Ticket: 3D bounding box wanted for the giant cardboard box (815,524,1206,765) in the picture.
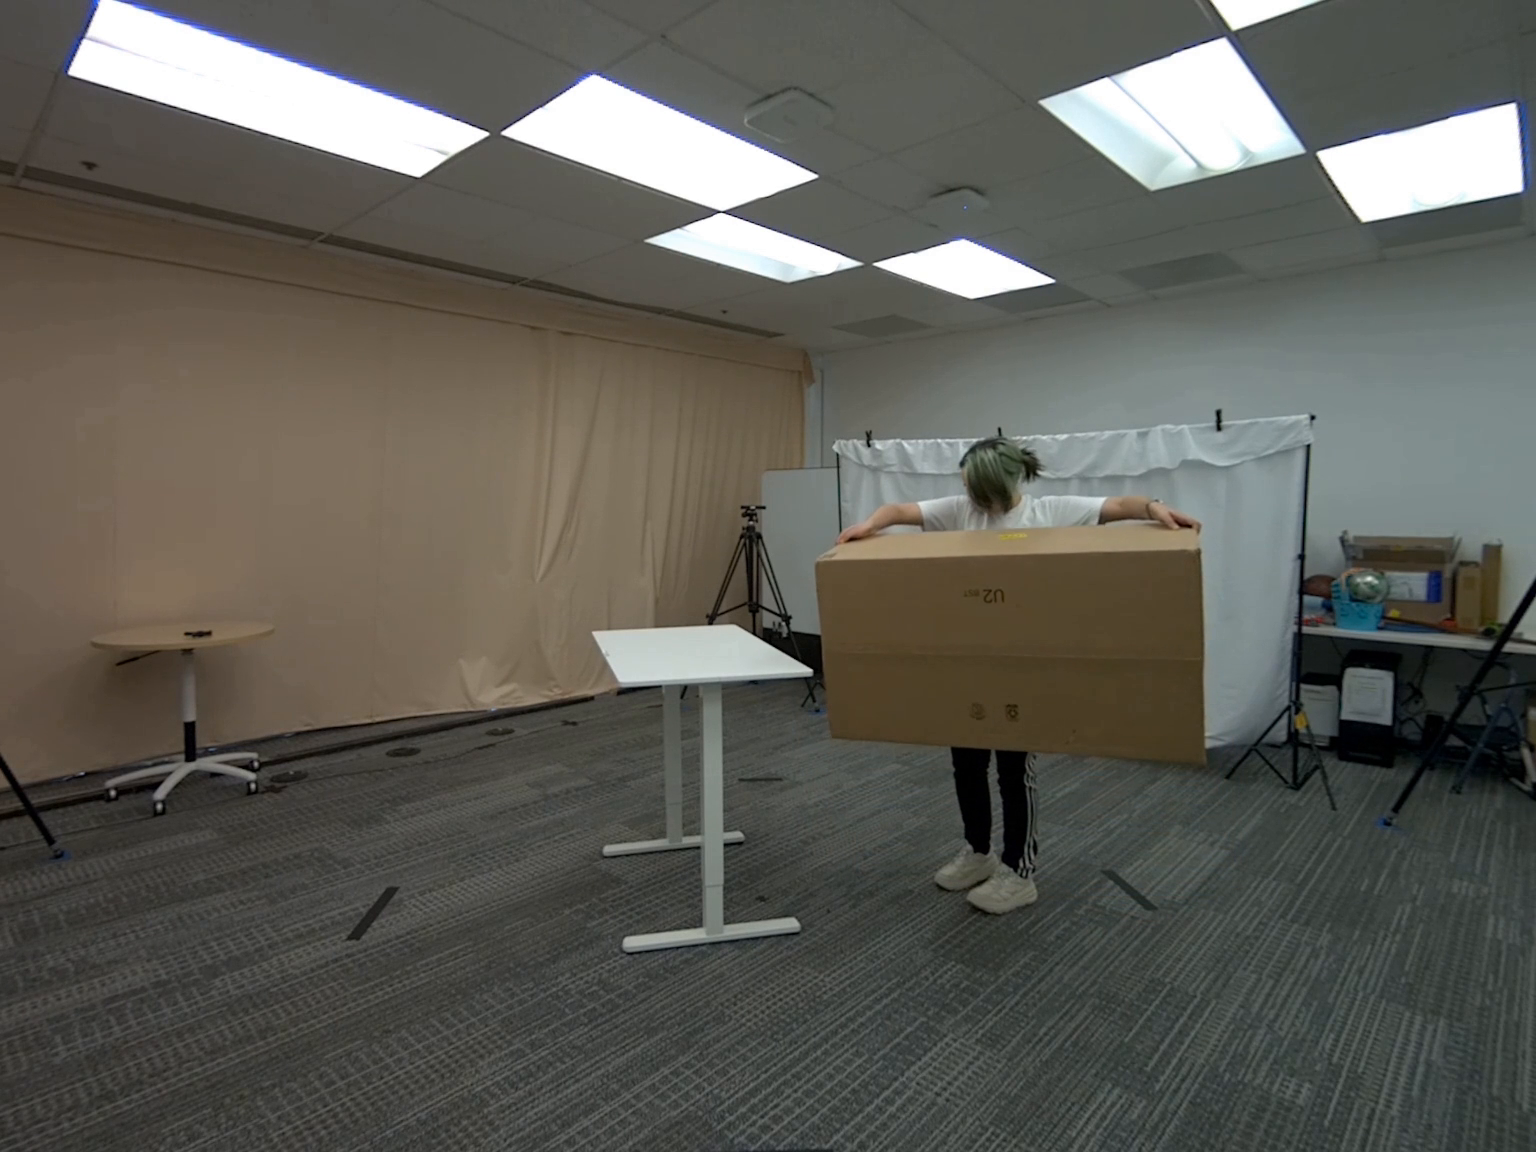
[{"bbox_3d":[0.721,0.178,2.542,1.052,0.580,0.439,-1,10,25],"label":"giant cardboard box"}]
